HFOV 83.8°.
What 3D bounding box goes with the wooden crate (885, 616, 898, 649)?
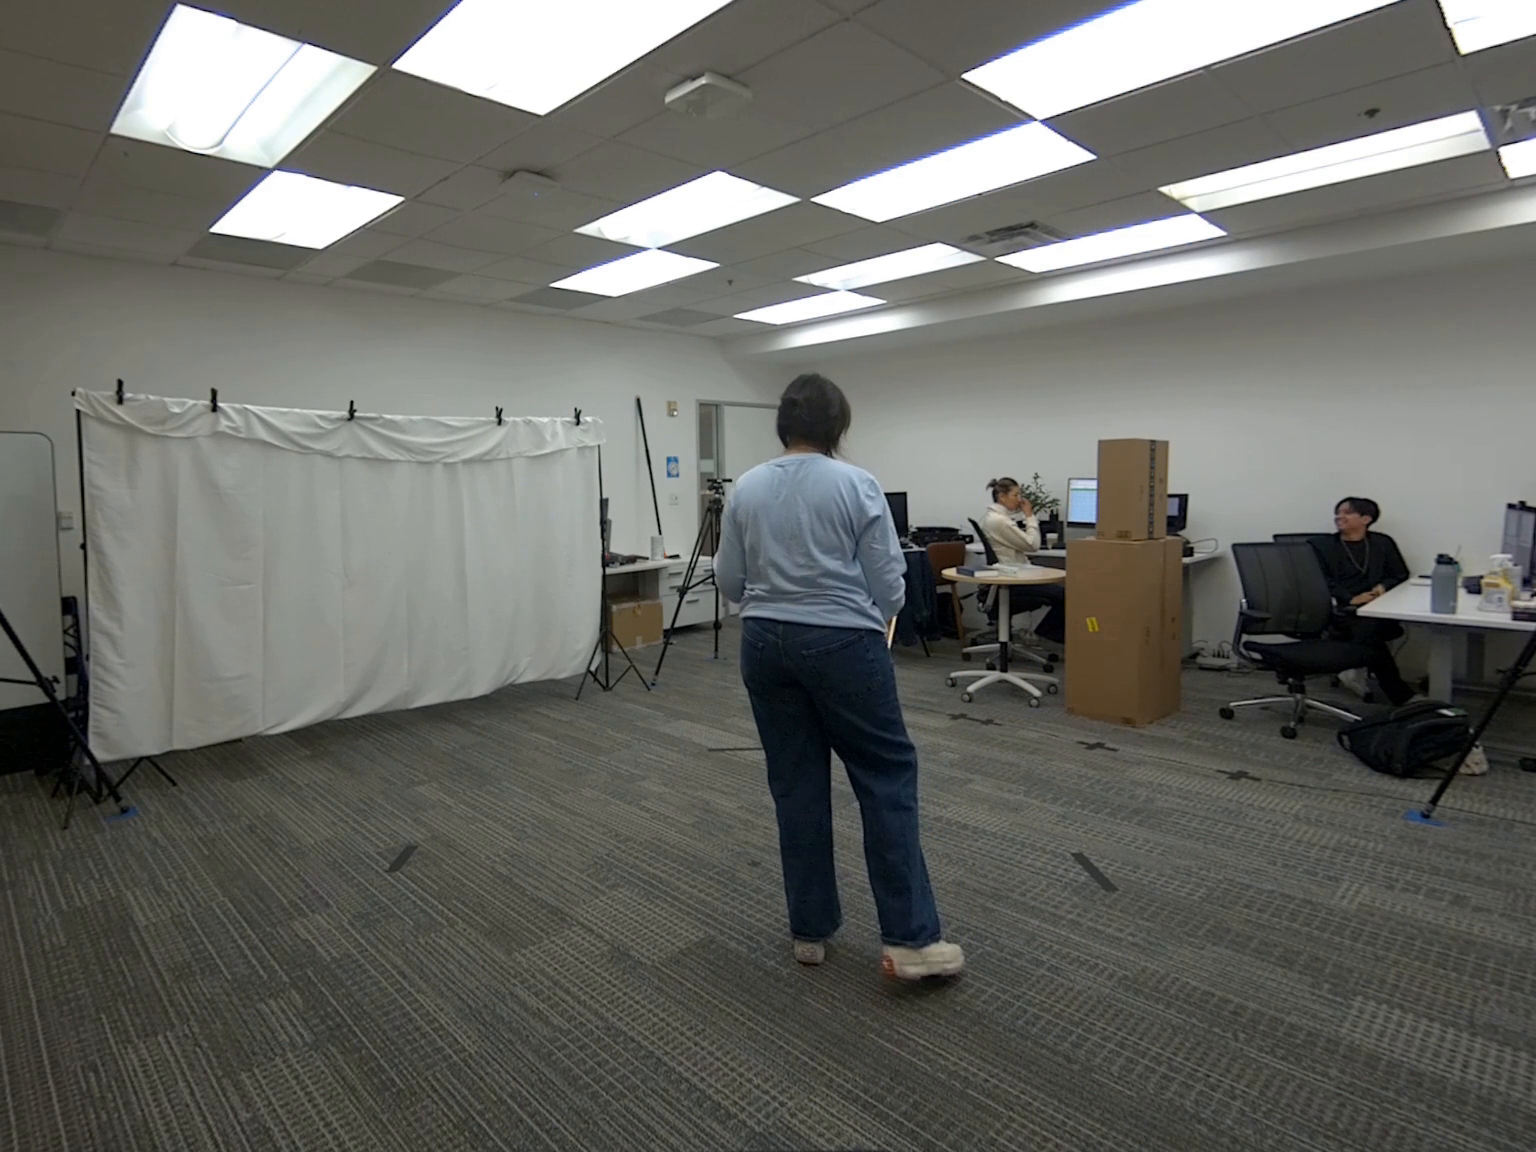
[{"bbox_3d":[0.275,0.092,2.798,0.307,0.269,0.324,-1,16,16],"label":"wooden crate"}]
